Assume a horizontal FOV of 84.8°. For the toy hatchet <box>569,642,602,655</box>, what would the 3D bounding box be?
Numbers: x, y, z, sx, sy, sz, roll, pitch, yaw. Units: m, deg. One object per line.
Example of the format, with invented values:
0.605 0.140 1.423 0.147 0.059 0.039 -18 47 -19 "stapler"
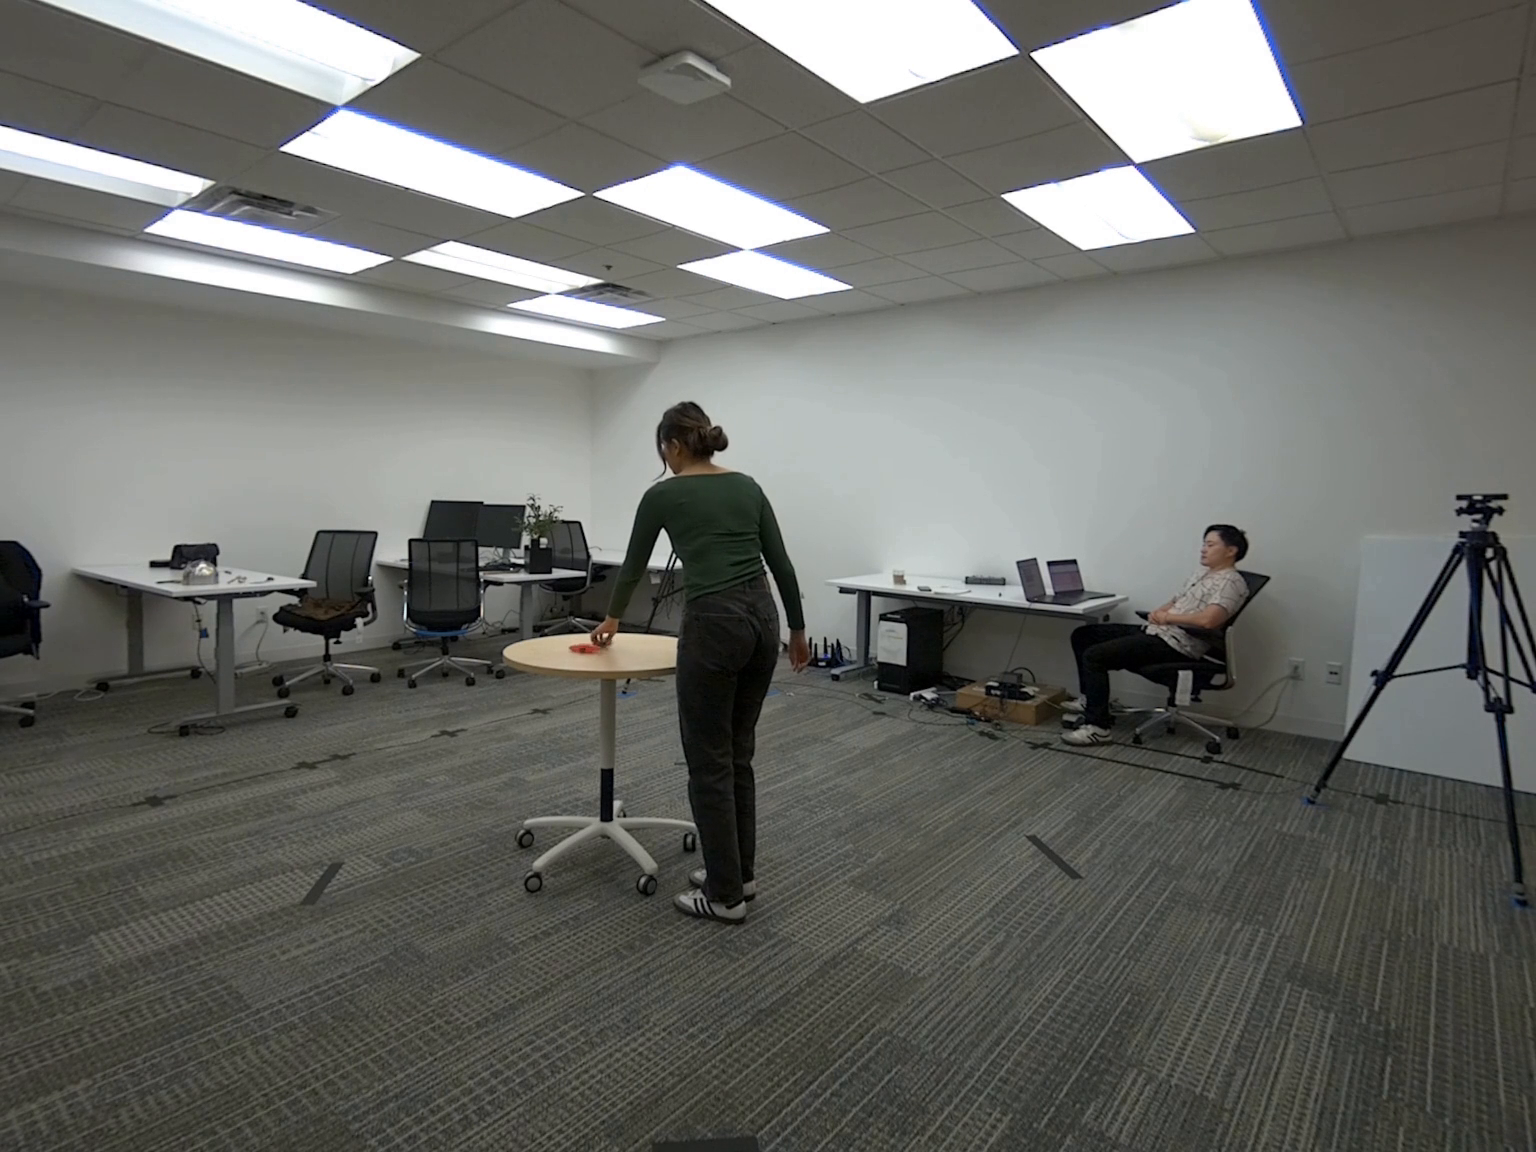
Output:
-0.679 0.257 3.209 0.131 0.029 0.271 -2 4 -4 "toy hatchet"
